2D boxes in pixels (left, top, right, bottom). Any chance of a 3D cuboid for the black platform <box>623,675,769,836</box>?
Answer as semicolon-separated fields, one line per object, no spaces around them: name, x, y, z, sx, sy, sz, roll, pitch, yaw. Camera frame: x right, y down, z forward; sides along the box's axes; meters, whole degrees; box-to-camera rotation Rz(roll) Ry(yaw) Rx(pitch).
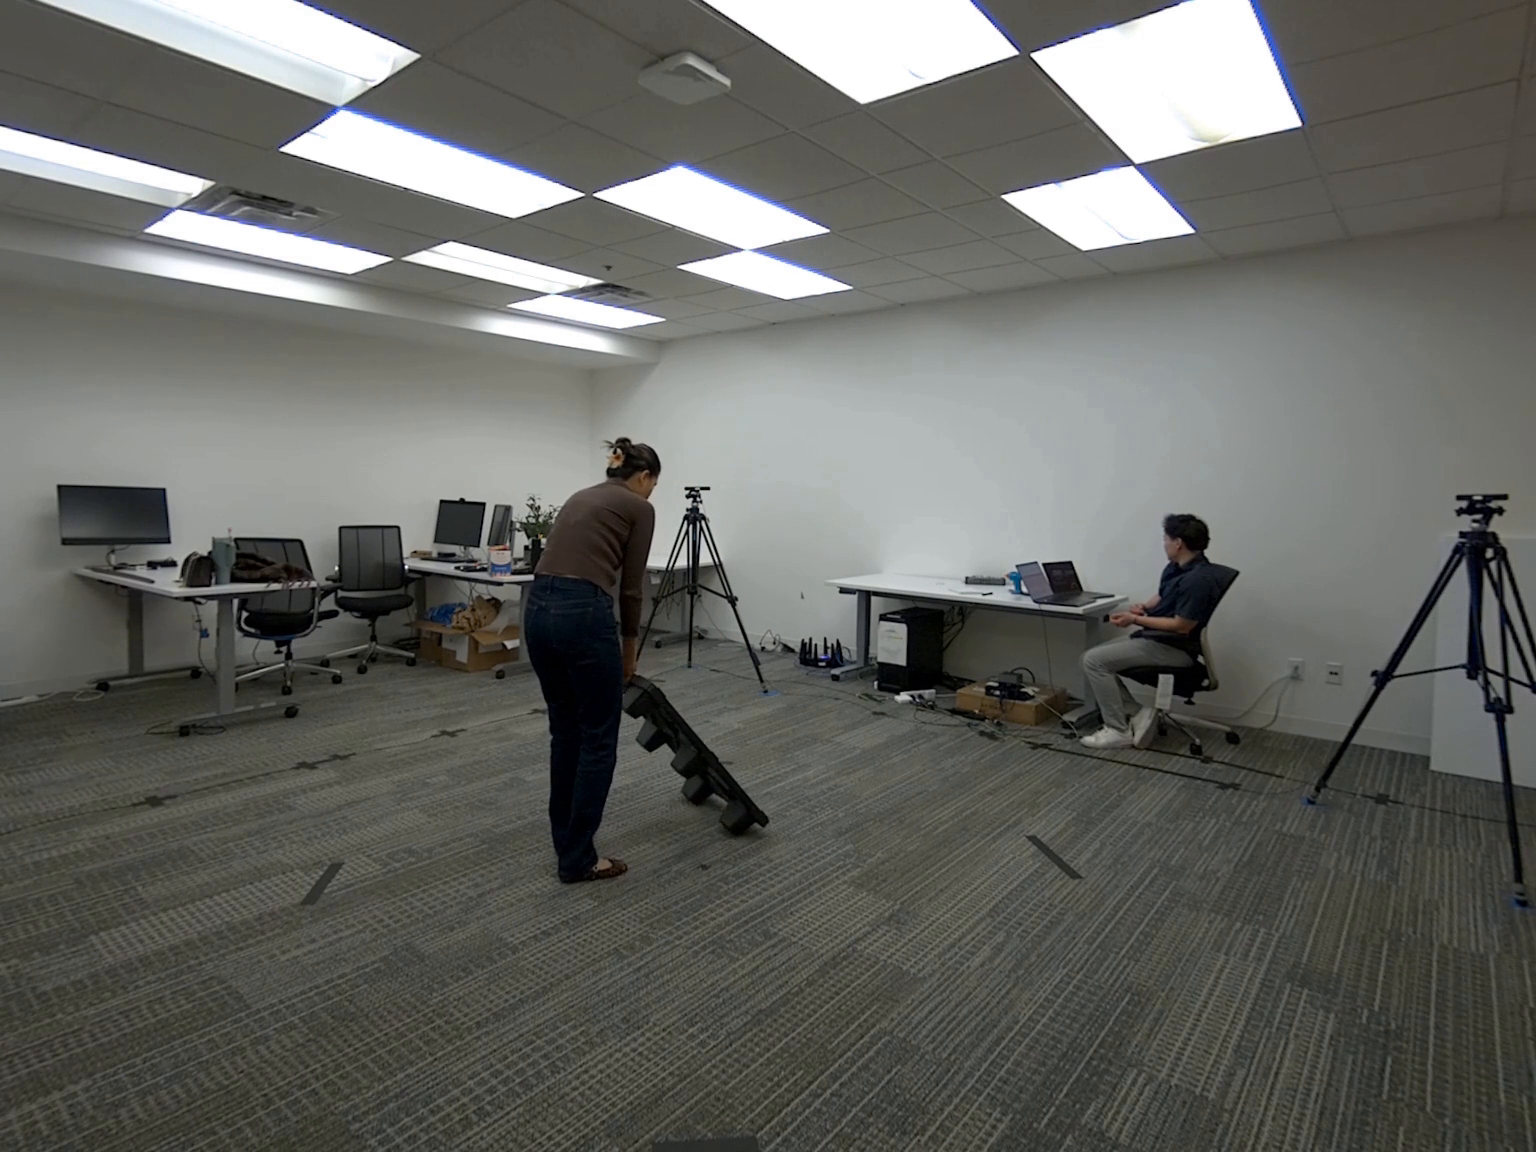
black platform;-0.413;0.696;3.508;0.143;0.785;0.622;-43;21;-20
